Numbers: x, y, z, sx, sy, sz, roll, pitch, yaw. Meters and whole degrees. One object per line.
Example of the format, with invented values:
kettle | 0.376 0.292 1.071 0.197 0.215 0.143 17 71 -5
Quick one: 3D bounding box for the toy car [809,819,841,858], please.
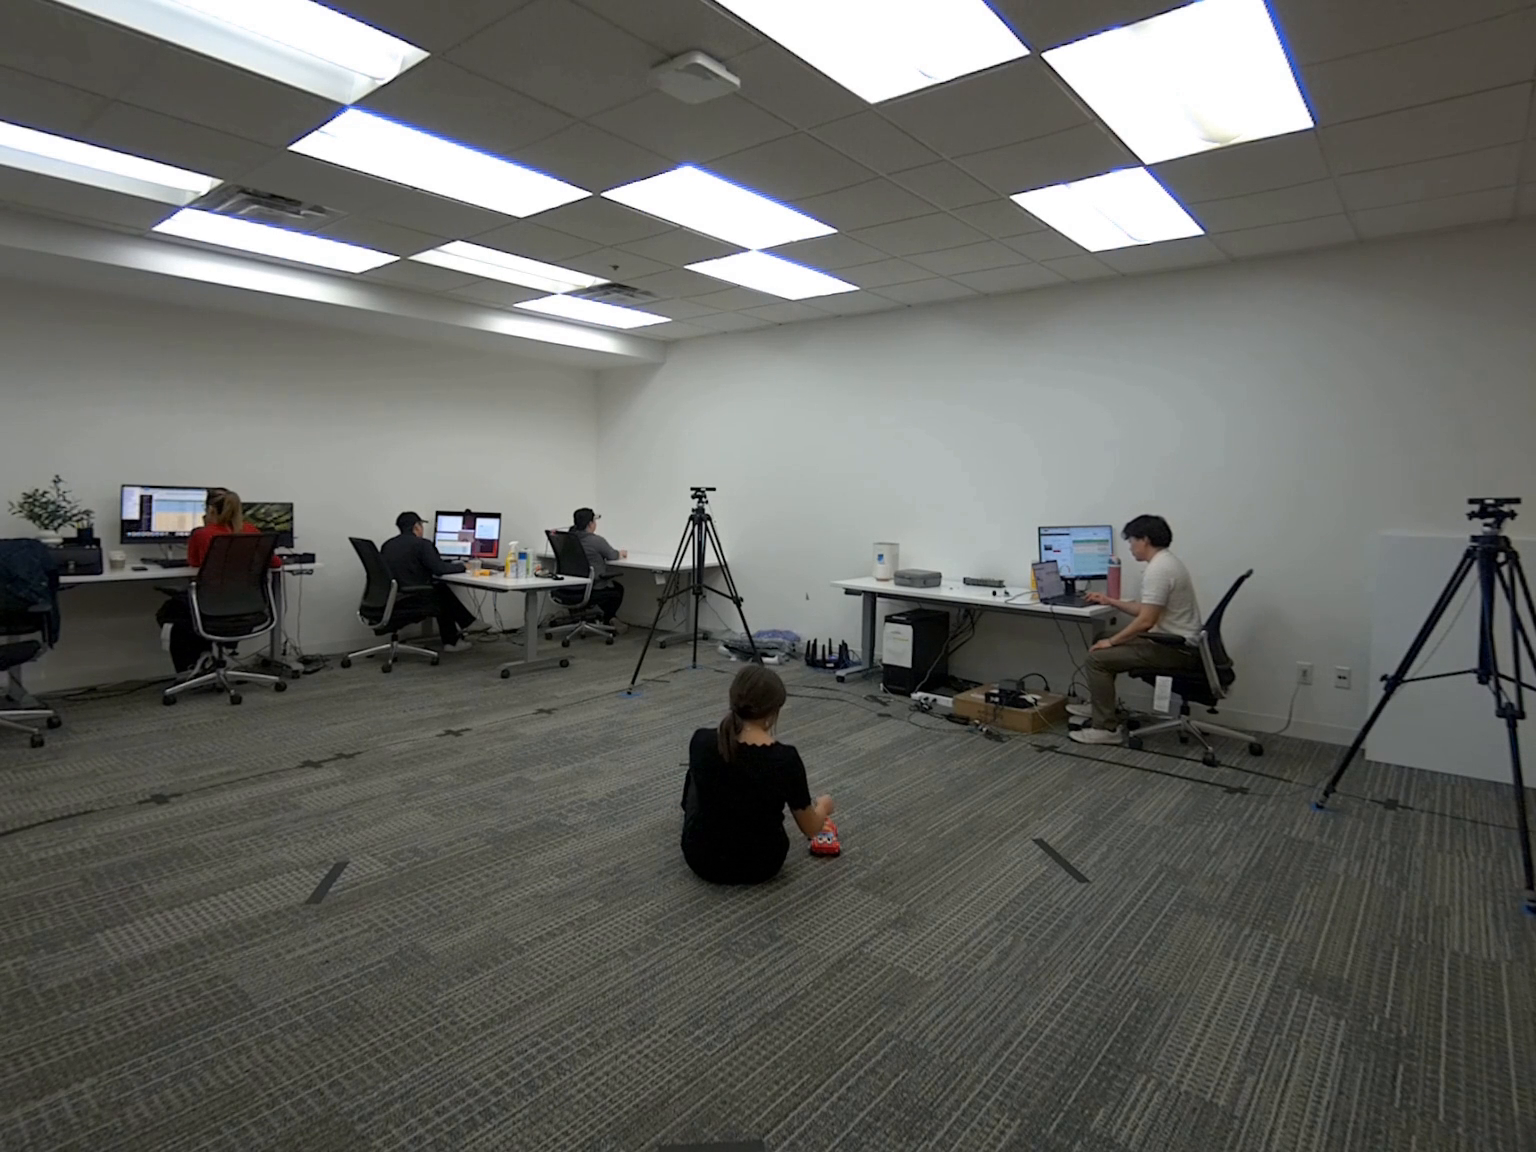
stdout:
toy car | 0.209 1.023 3.350 0.131 0.082 0.258 0 17 1
